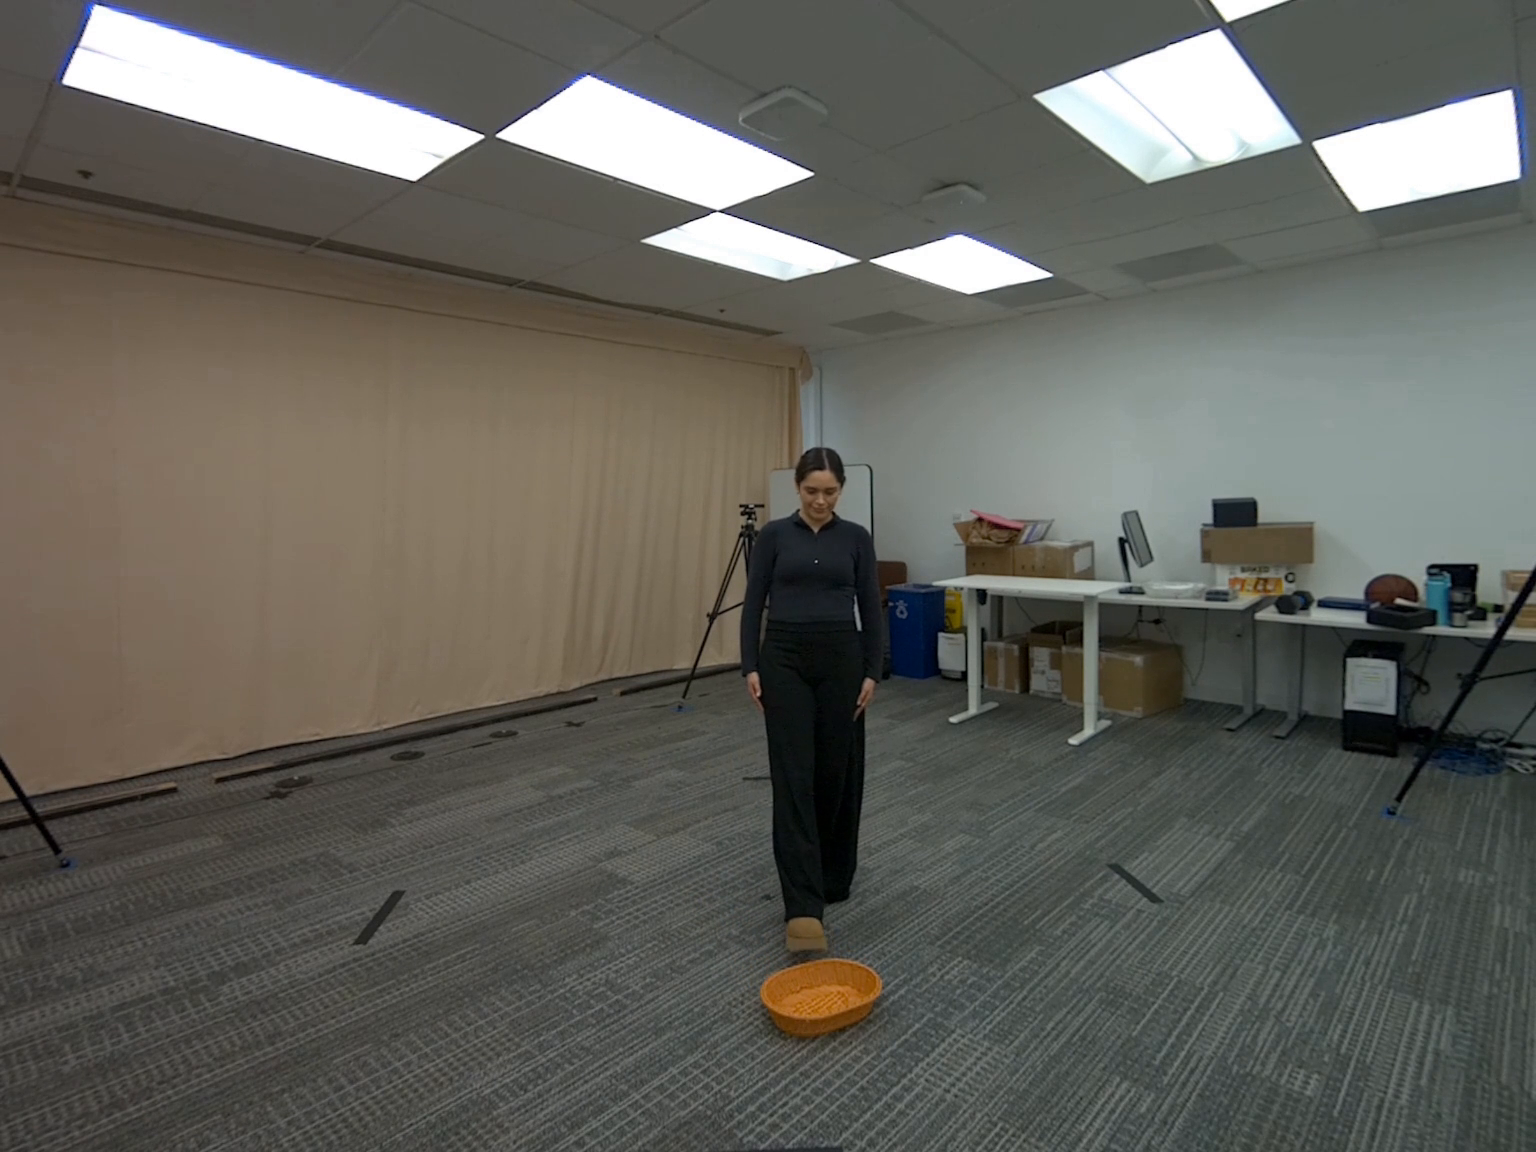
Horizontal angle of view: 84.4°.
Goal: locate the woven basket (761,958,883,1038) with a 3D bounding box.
[{"bbox_3d":[0.144,1.151,2.310,0.342,0.073,0.259,-3,4,-26],"label":"woven basket"}]
